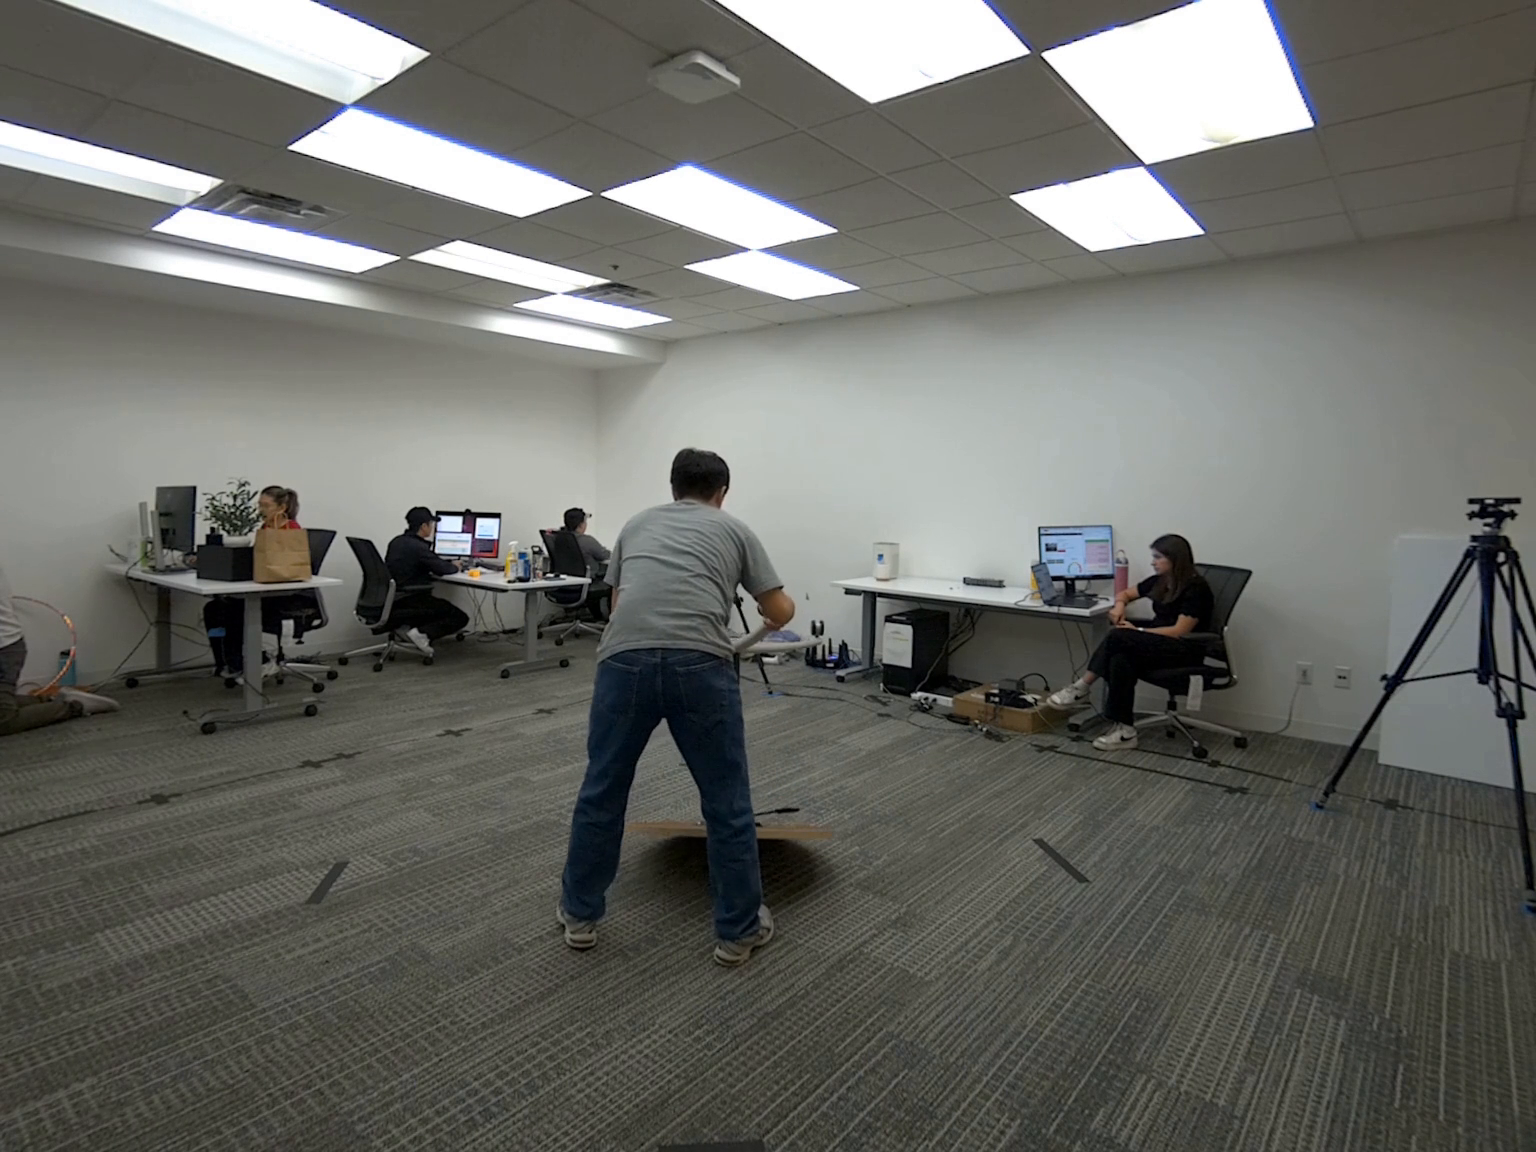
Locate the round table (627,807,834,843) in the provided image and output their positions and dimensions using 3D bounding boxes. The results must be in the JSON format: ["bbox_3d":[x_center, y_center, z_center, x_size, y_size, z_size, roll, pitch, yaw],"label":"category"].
[{"bbox_3d":[-0.138,0.549,3.227,0.763,0.806,0.753,0,-16,-2],"label":"round table"}]
